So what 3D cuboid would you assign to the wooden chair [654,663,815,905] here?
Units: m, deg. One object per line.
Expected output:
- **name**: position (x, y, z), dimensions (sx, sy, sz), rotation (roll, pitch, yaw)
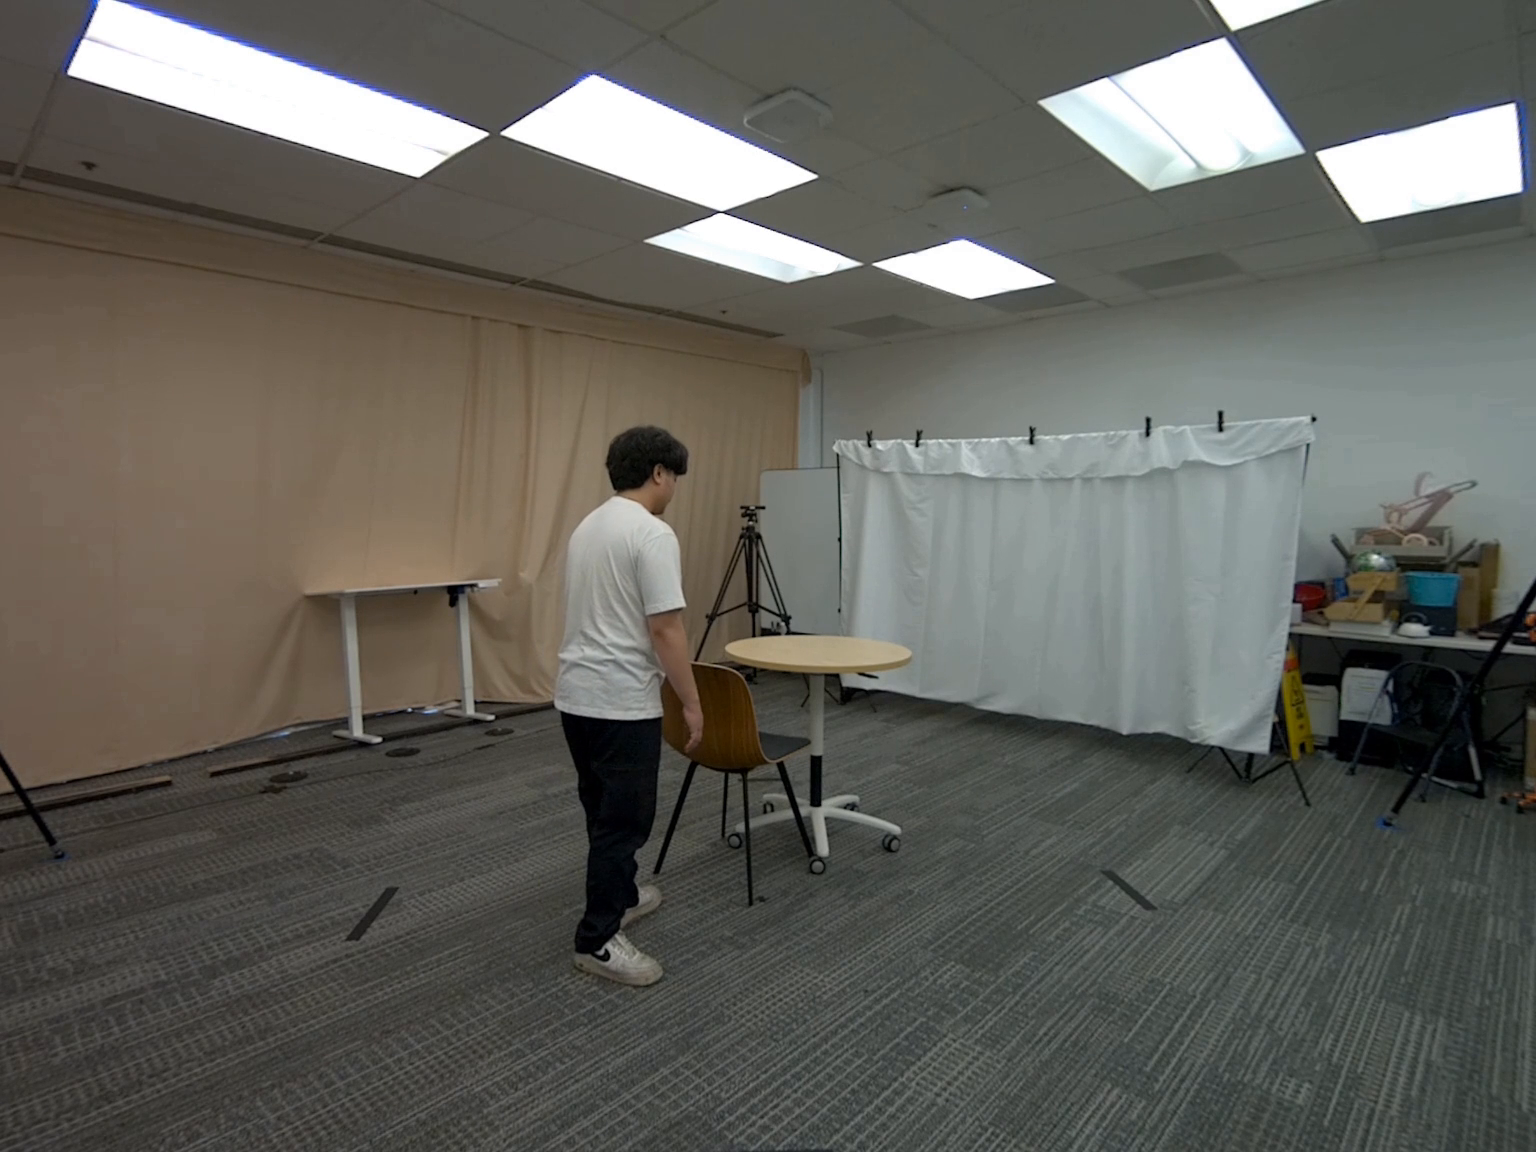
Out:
- **wooden chair**: position (-0.118, 0.699, 3.216), dimensions (0.493, 0.874, 0.509), rotation (2, 7, 35)
